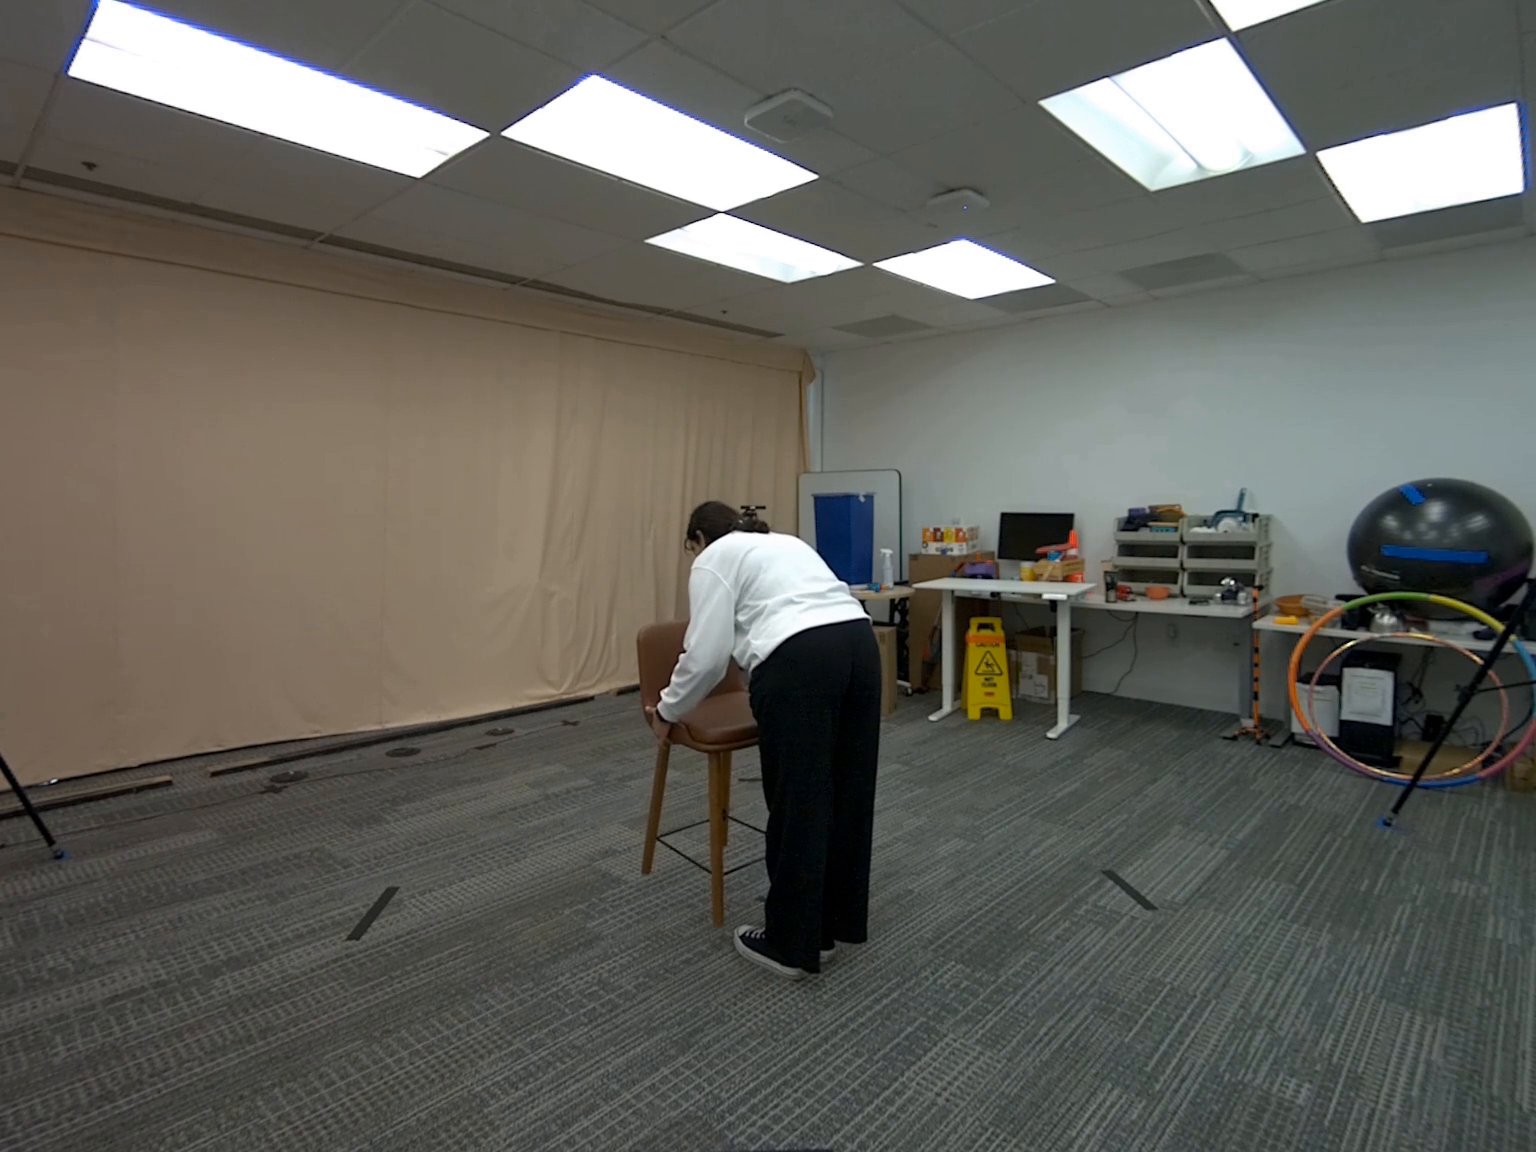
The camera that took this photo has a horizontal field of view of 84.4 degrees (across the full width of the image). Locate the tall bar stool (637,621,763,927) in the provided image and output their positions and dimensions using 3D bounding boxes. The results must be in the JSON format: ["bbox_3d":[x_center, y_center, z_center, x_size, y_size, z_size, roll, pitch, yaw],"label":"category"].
[{"bbox_3d":[-0.152,0.612,2.847,0.443,0.887,0.483,-5,6,-40],"label":"tall bar stool"}]
